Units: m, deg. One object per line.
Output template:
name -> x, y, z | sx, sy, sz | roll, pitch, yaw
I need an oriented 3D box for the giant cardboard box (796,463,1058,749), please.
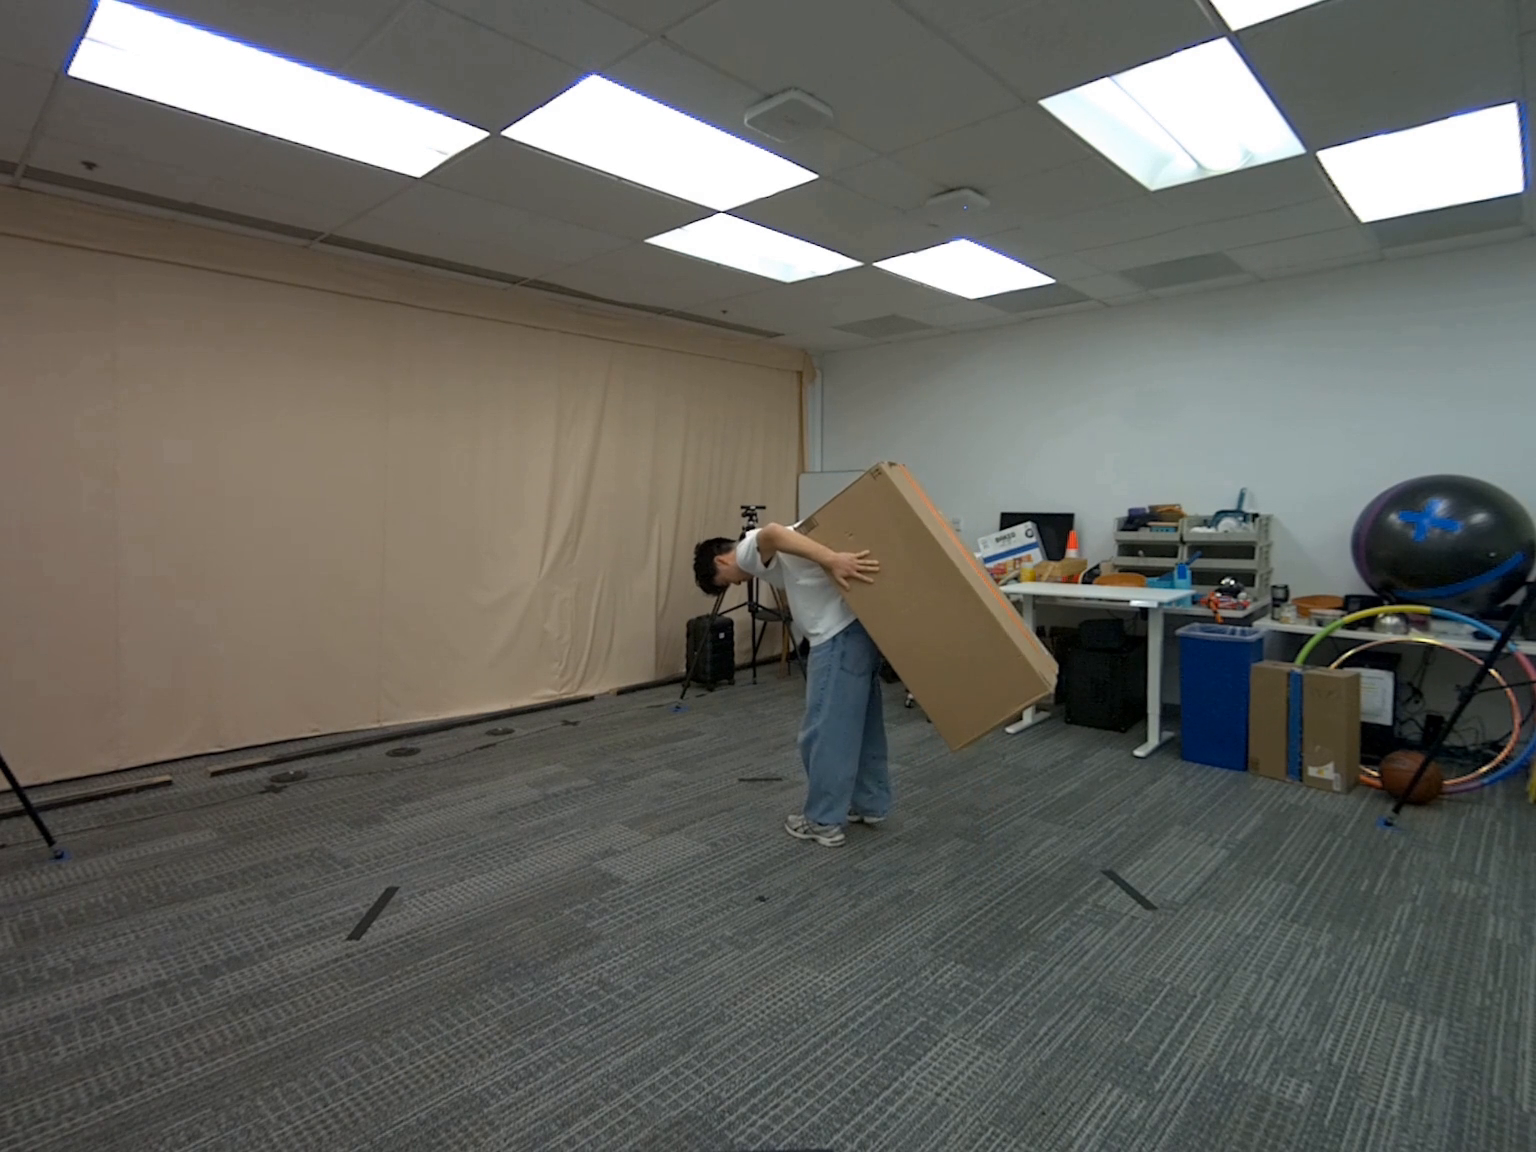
giant cardboard box -> 0.648, 0.094, 3.348 | 0.430, 1.039, 0.565 | -38, -11, 20
